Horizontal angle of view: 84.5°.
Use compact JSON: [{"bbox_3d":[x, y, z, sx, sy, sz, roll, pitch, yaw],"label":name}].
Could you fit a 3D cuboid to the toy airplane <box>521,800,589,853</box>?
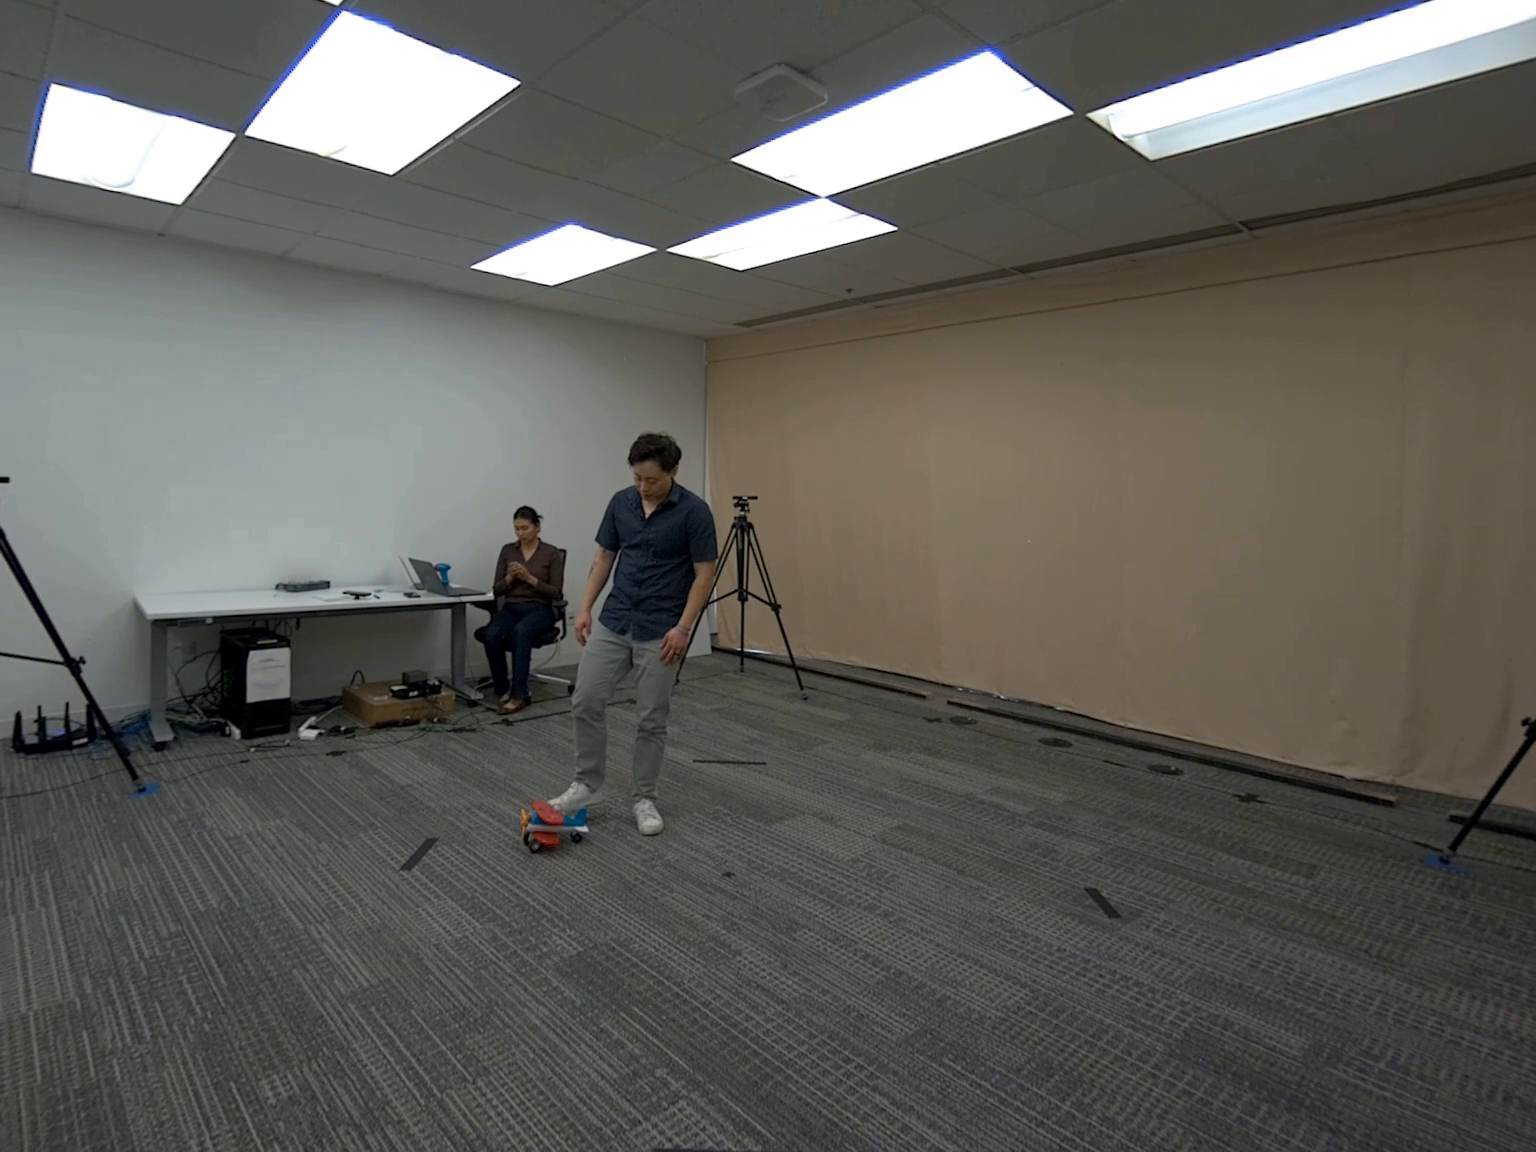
[{"bbox_3d":[-0.870,0.991,3.347,0.257,0.156,0.254,4,6,33],"label":"toy airplane"}]
